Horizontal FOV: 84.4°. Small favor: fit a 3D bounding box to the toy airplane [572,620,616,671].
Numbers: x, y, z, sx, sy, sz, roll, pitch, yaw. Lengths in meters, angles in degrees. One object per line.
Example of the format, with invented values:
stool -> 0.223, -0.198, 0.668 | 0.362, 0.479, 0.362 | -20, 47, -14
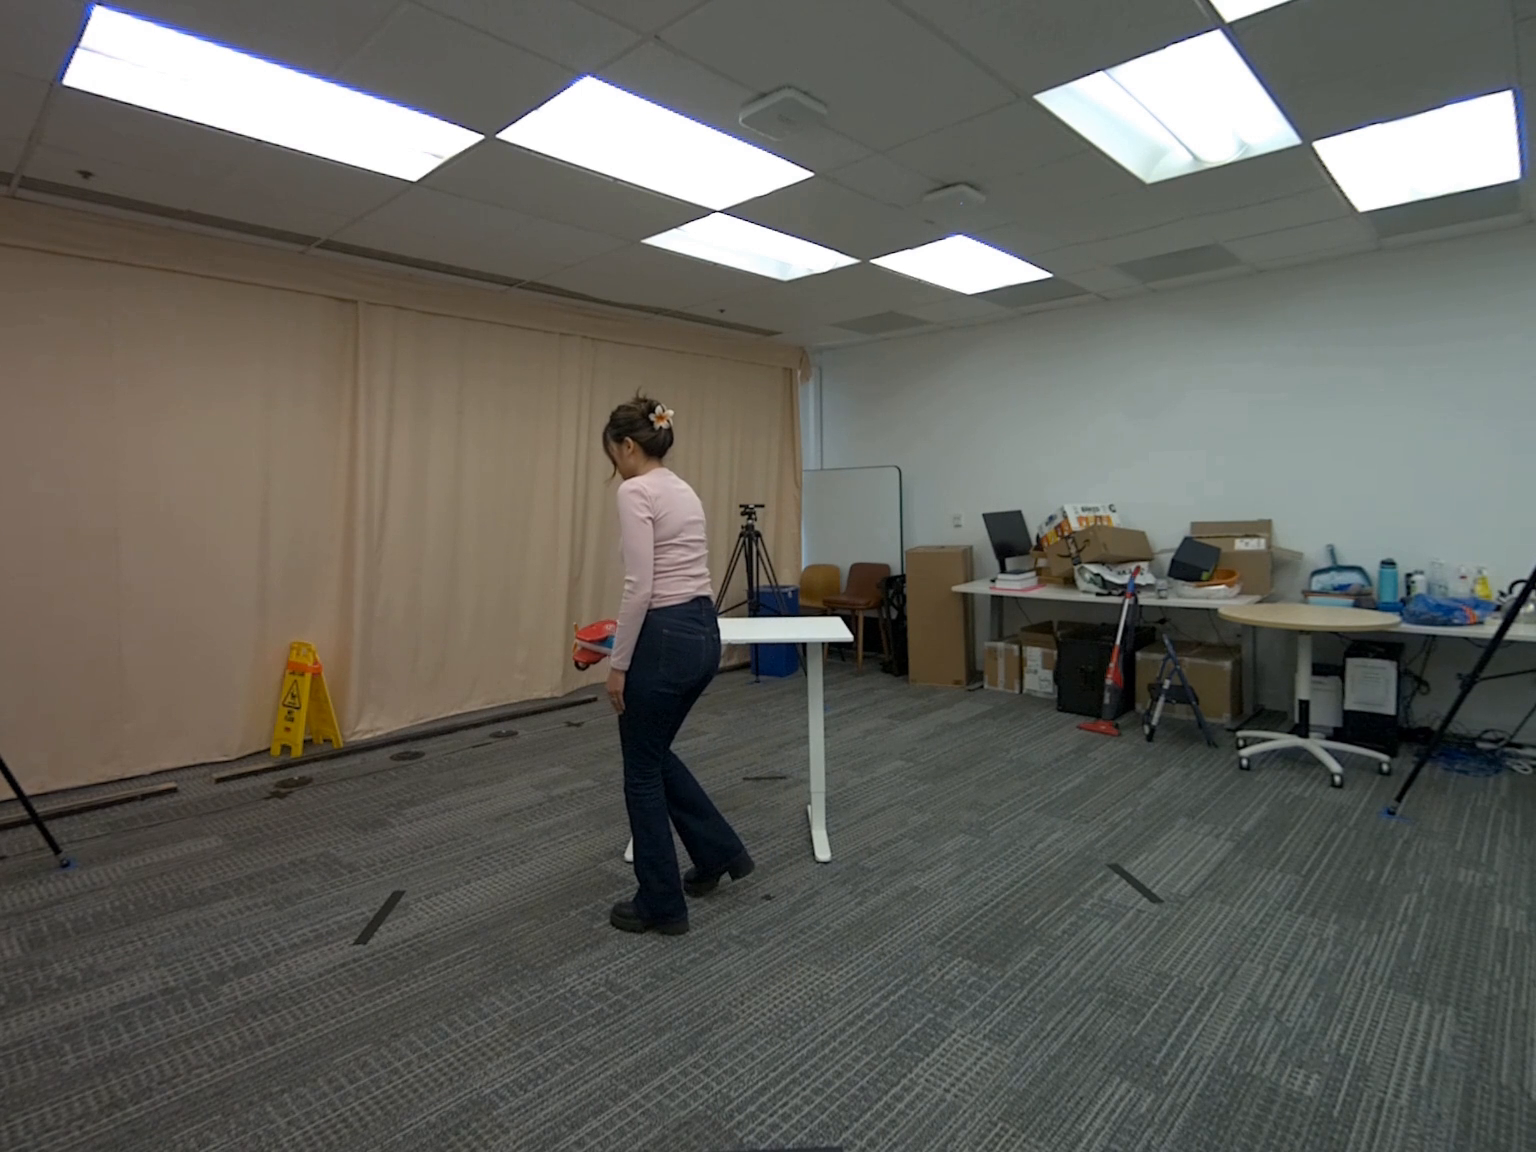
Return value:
toy airplane -> -0.562, 0.252, 3.005 | 0.257, 0.155, 0.255 | -6, 9, -9
